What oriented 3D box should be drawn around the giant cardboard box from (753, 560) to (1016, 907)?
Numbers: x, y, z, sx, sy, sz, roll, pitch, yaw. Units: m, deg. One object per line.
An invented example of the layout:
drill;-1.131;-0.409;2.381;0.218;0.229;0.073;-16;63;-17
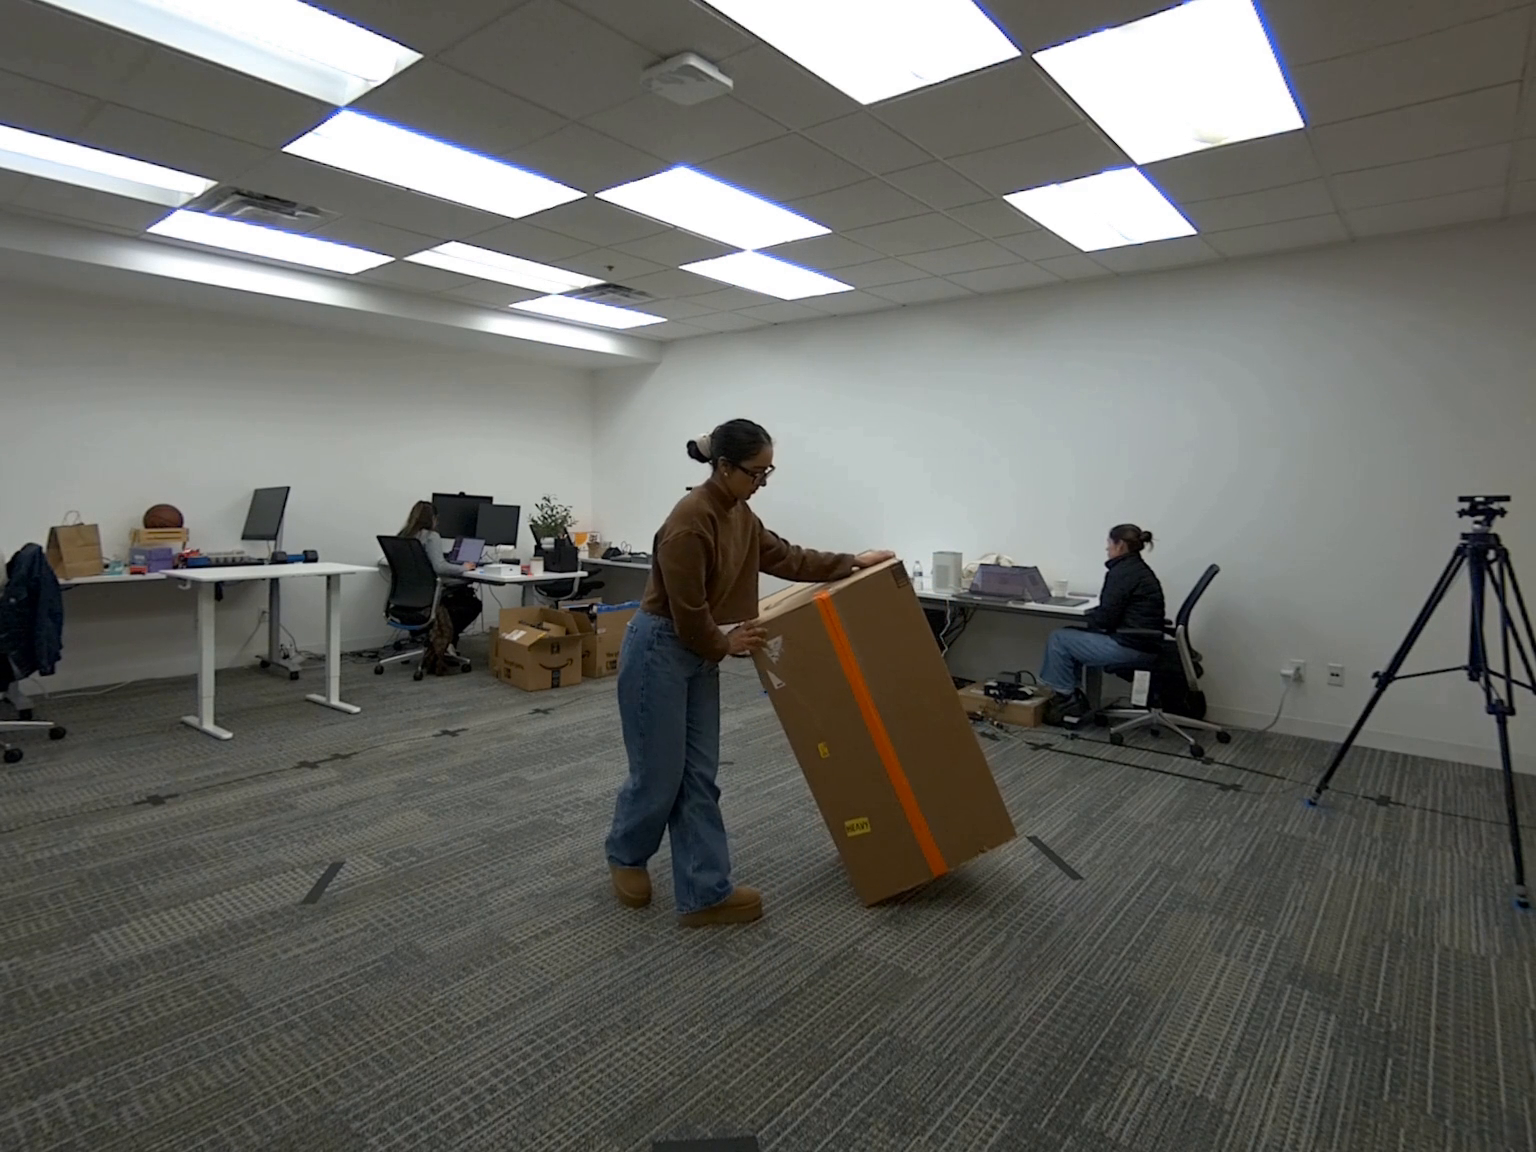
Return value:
giant cardboard box;0.347;0.509;3.005;0.583;1.021;0.450;-24;4;-2
